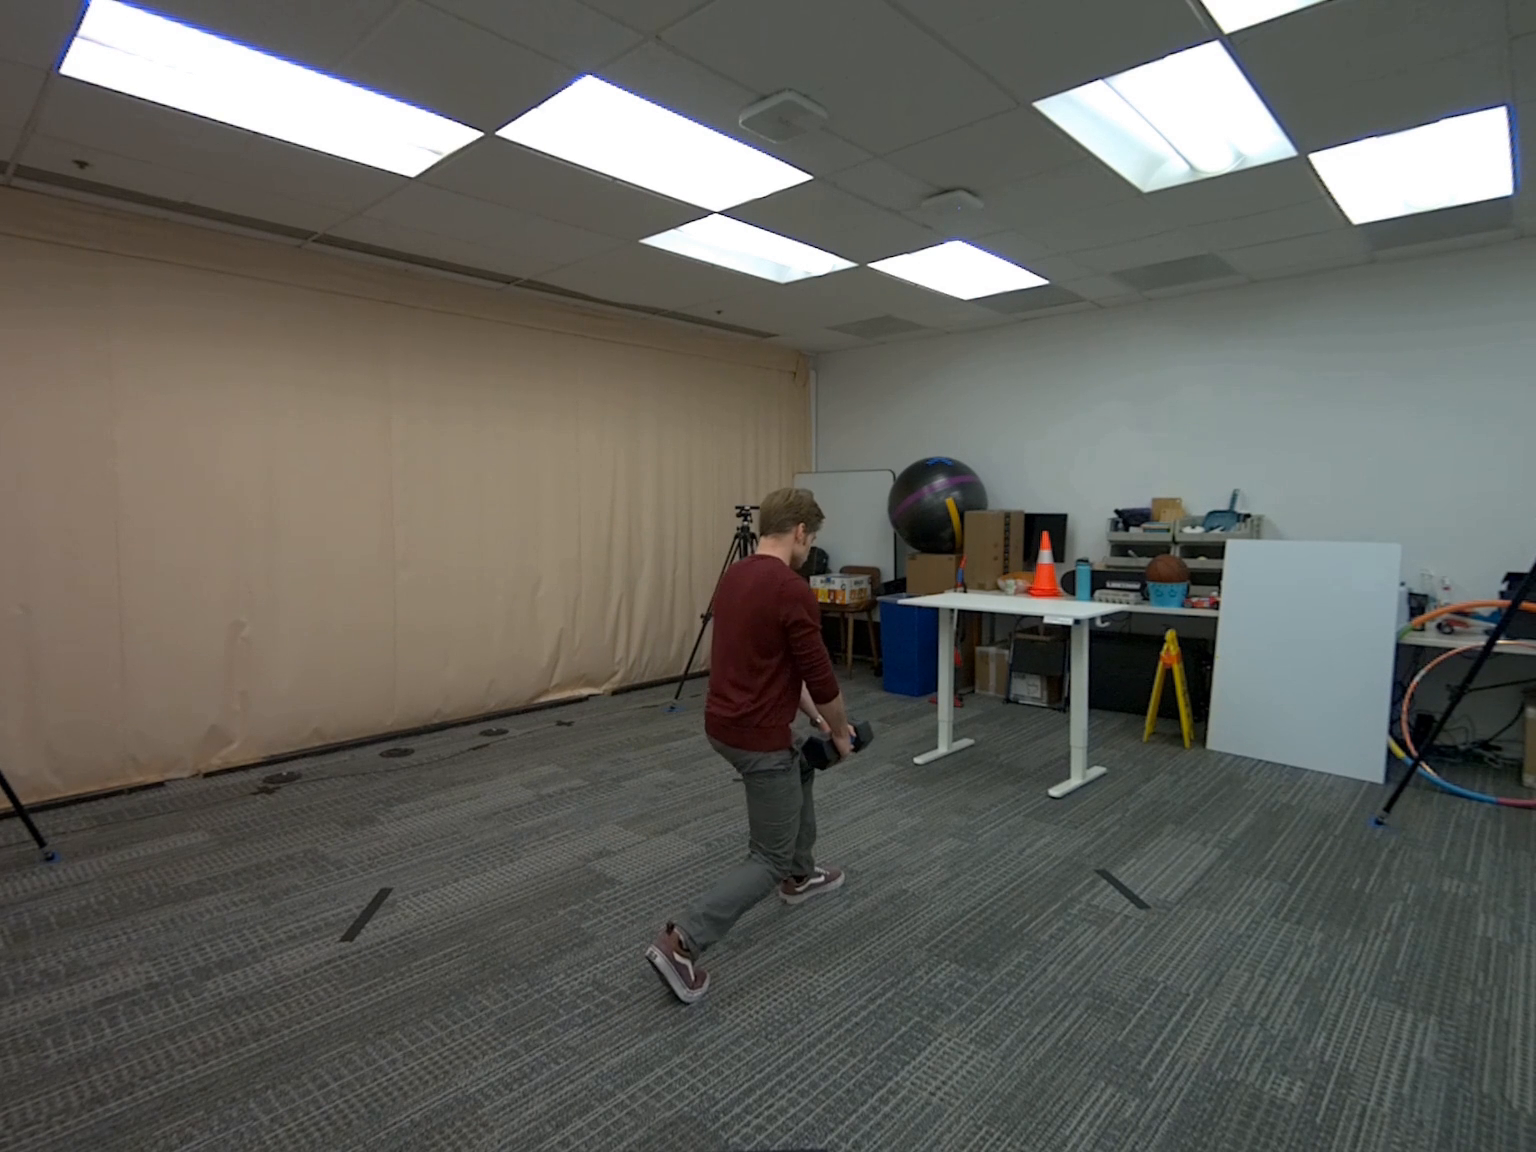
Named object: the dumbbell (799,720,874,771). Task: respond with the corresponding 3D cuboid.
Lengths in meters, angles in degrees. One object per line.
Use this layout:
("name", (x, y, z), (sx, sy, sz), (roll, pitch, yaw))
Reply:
("dumbbell", (0.246, 0.574, 2.886), (0.285, 0.123, 0.112), (-12, 50, -48))
